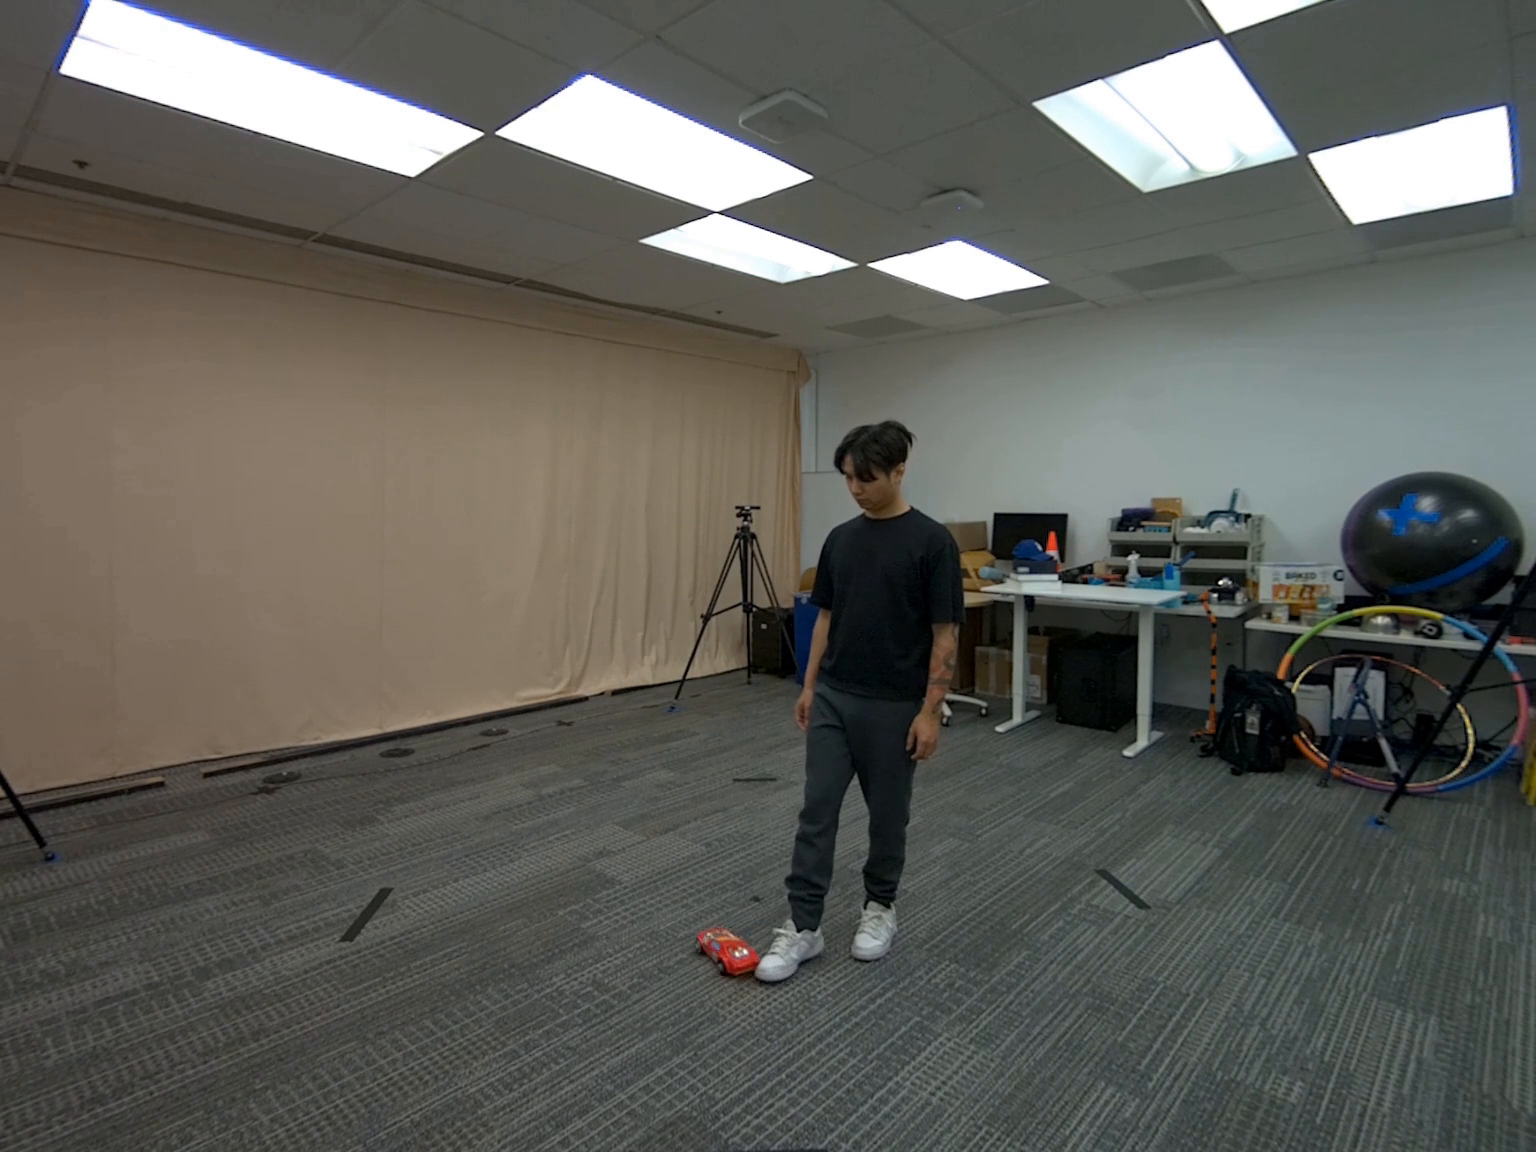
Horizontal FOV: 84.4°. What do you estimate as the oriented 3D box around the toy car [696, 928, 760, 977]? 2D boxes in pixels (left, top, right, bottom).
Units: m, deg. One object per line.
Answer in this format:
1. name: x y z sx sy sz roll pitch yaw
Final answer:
1. toy car: -0.118 1.151 2.570 0.127 0.083 0.260 -3 -5 -32
